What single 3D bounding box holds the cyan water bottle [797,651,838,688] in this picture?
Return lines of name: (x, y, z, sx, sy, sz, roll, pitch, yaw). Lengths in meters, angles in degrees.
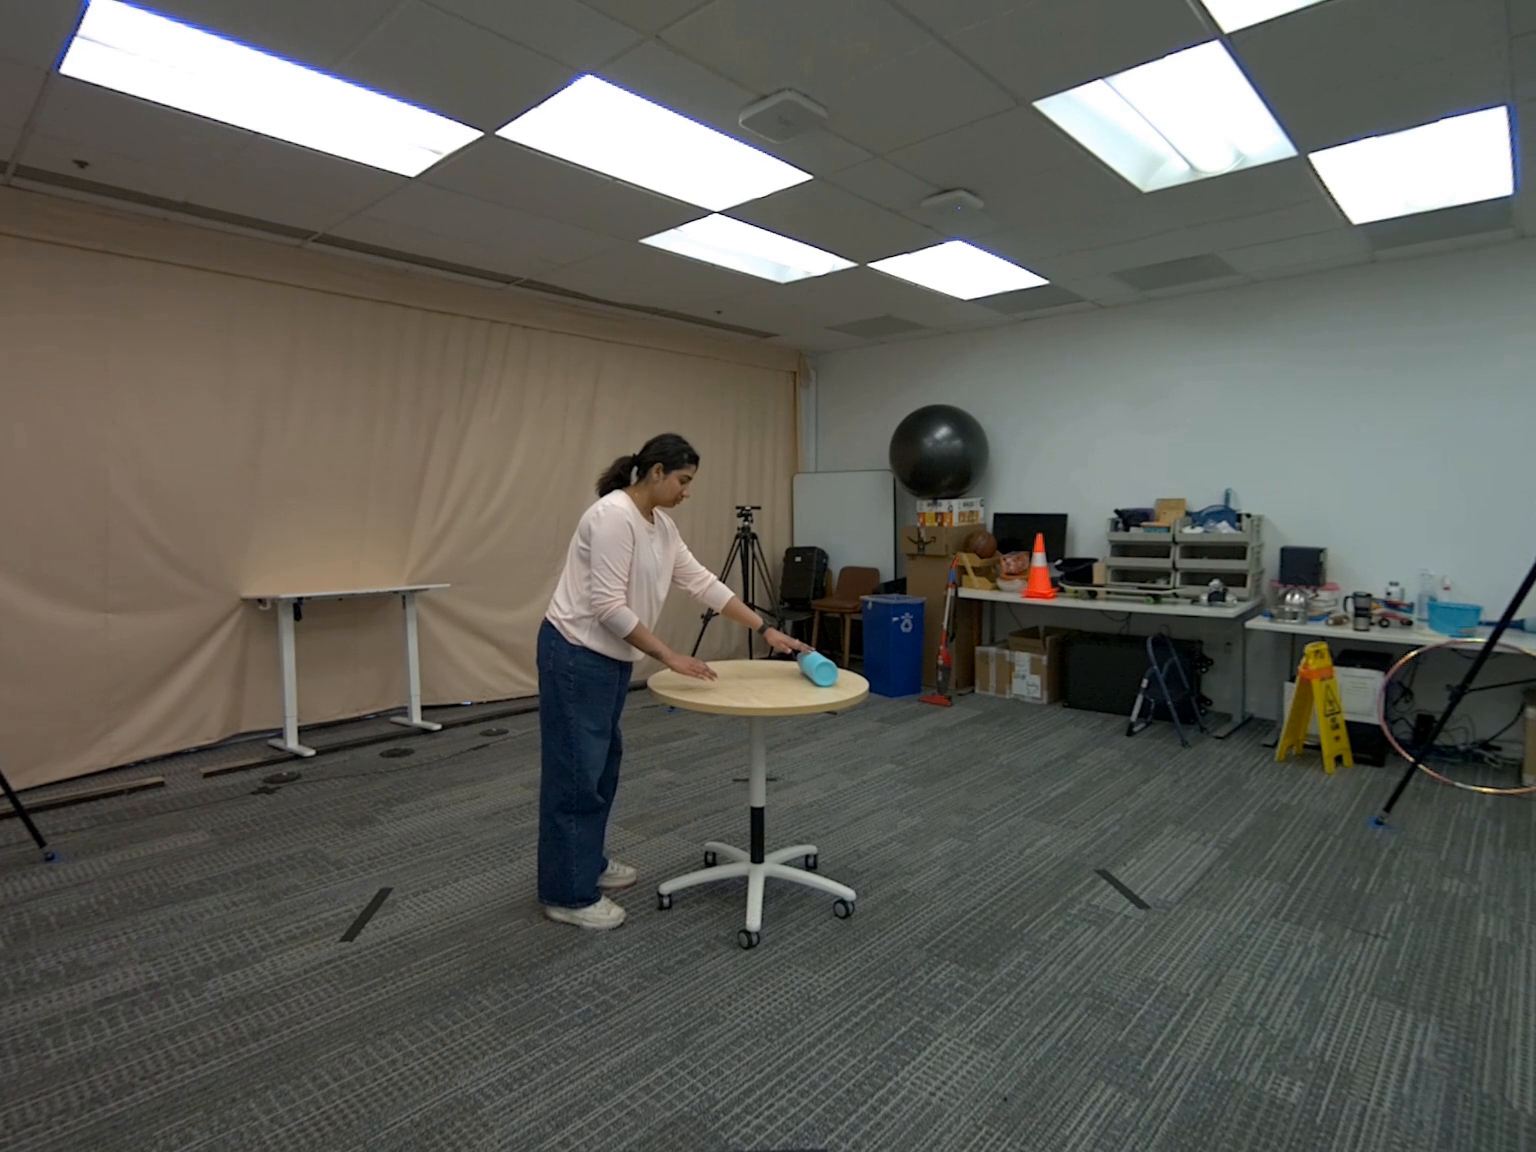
cyan water bottle: (0.172, 0.321, 2.955, 0.091, 0.092, 0.286, -1, 4, -8)
